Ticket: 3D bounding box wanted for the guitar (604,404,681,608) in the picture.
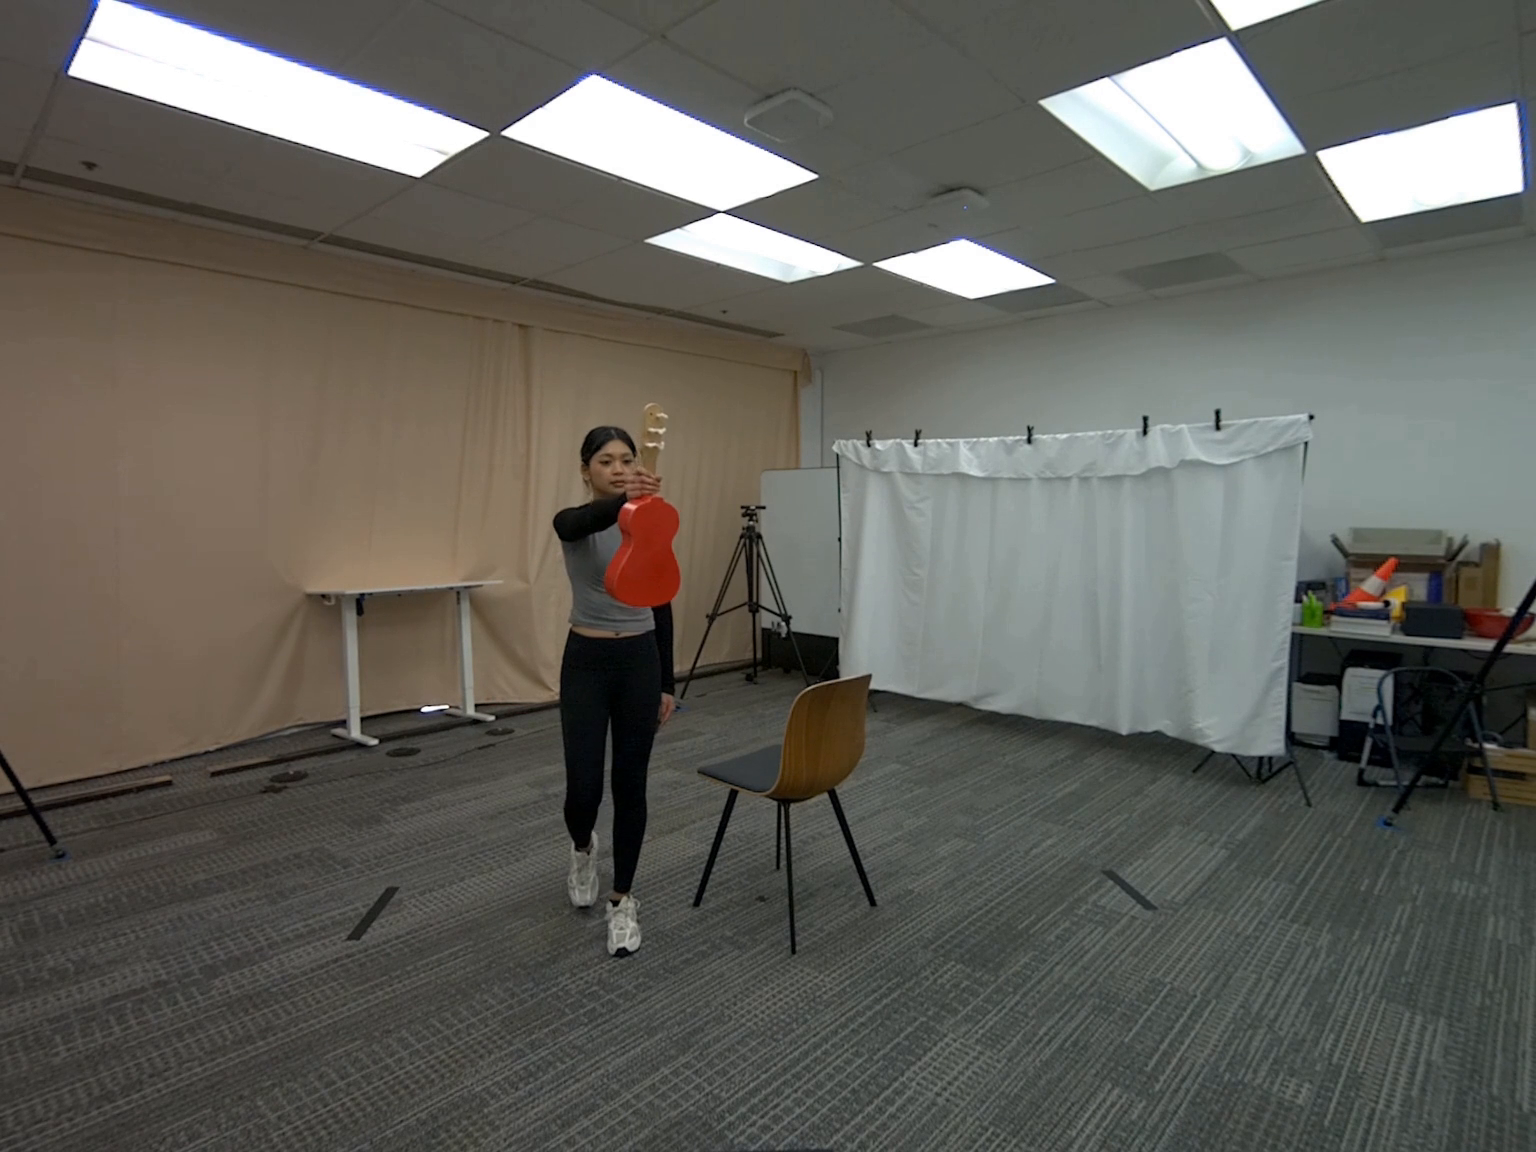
[{"bbox_3d":[-0.315,-0.167,2.086,0.188,0.493,0.073,-13,17,-39],"label":"guitar"}]
